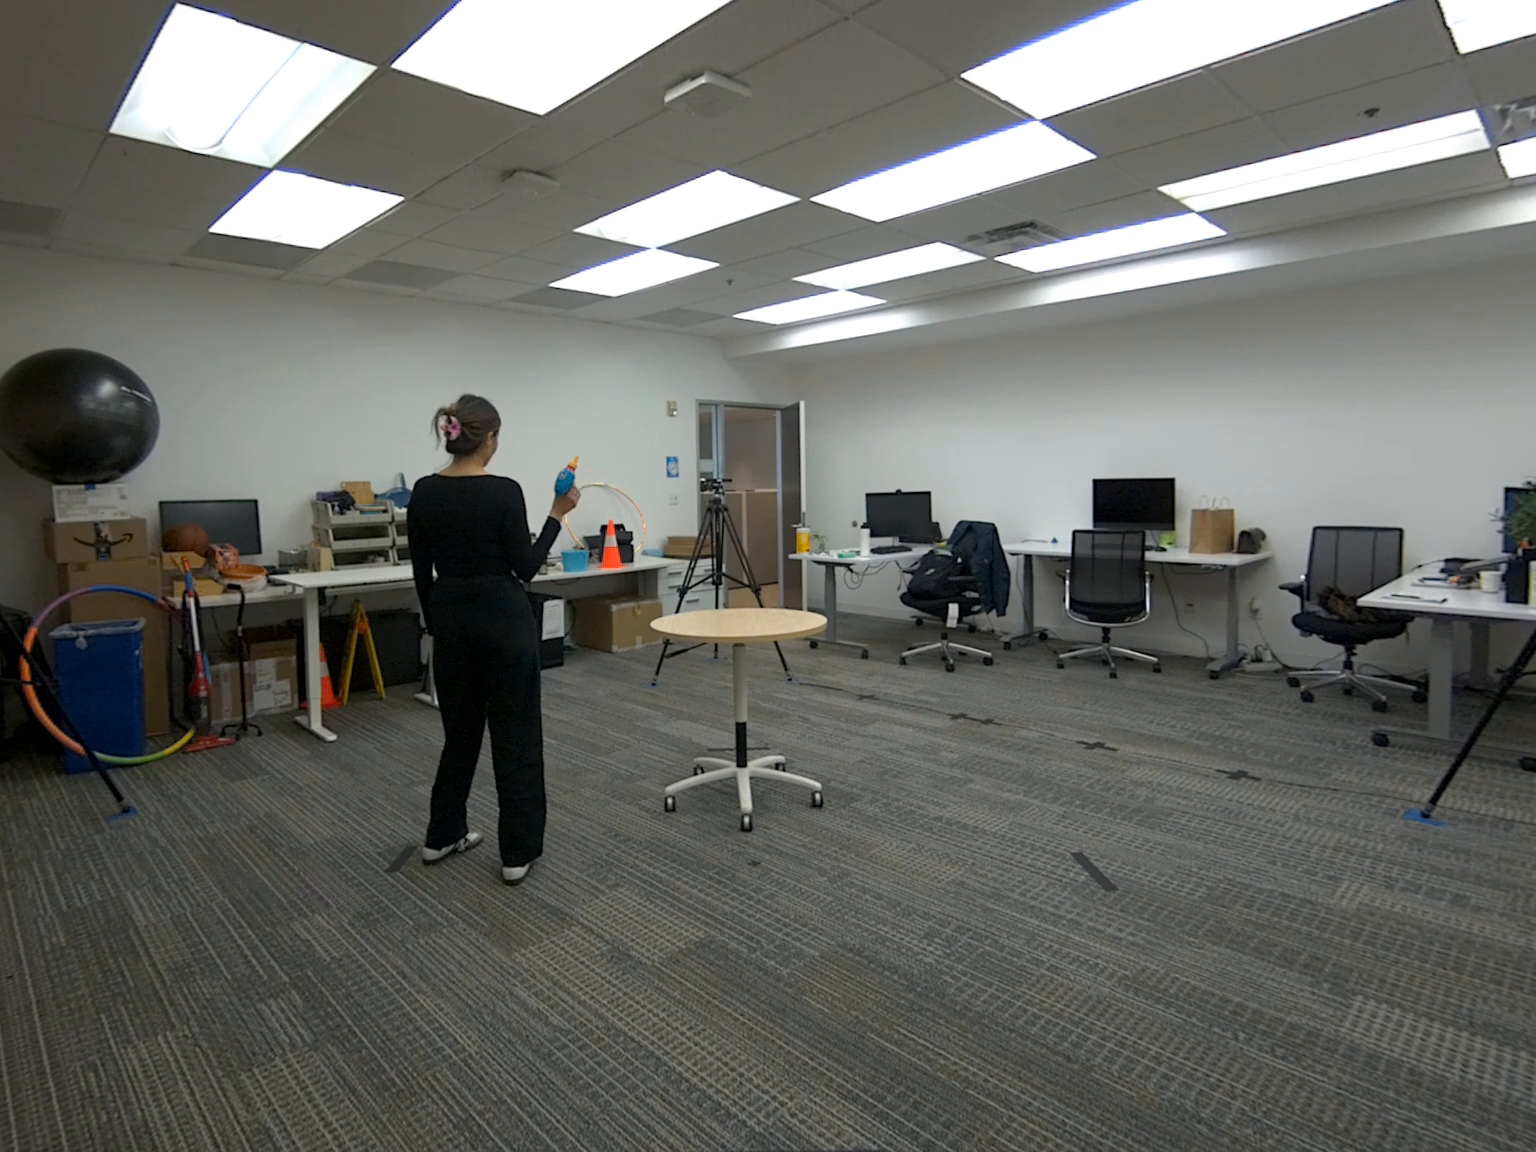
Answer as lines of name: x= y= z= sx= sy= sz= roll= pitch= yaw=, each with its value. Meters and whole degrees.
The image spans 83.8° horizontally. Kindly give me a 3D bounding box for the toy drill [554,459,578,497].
toy drill: x=-0.744 y=-0.354 z=3.151 sx=0.062 sy=0.171 sz=0.142 roll=14 pitch=-20 yaw=11
